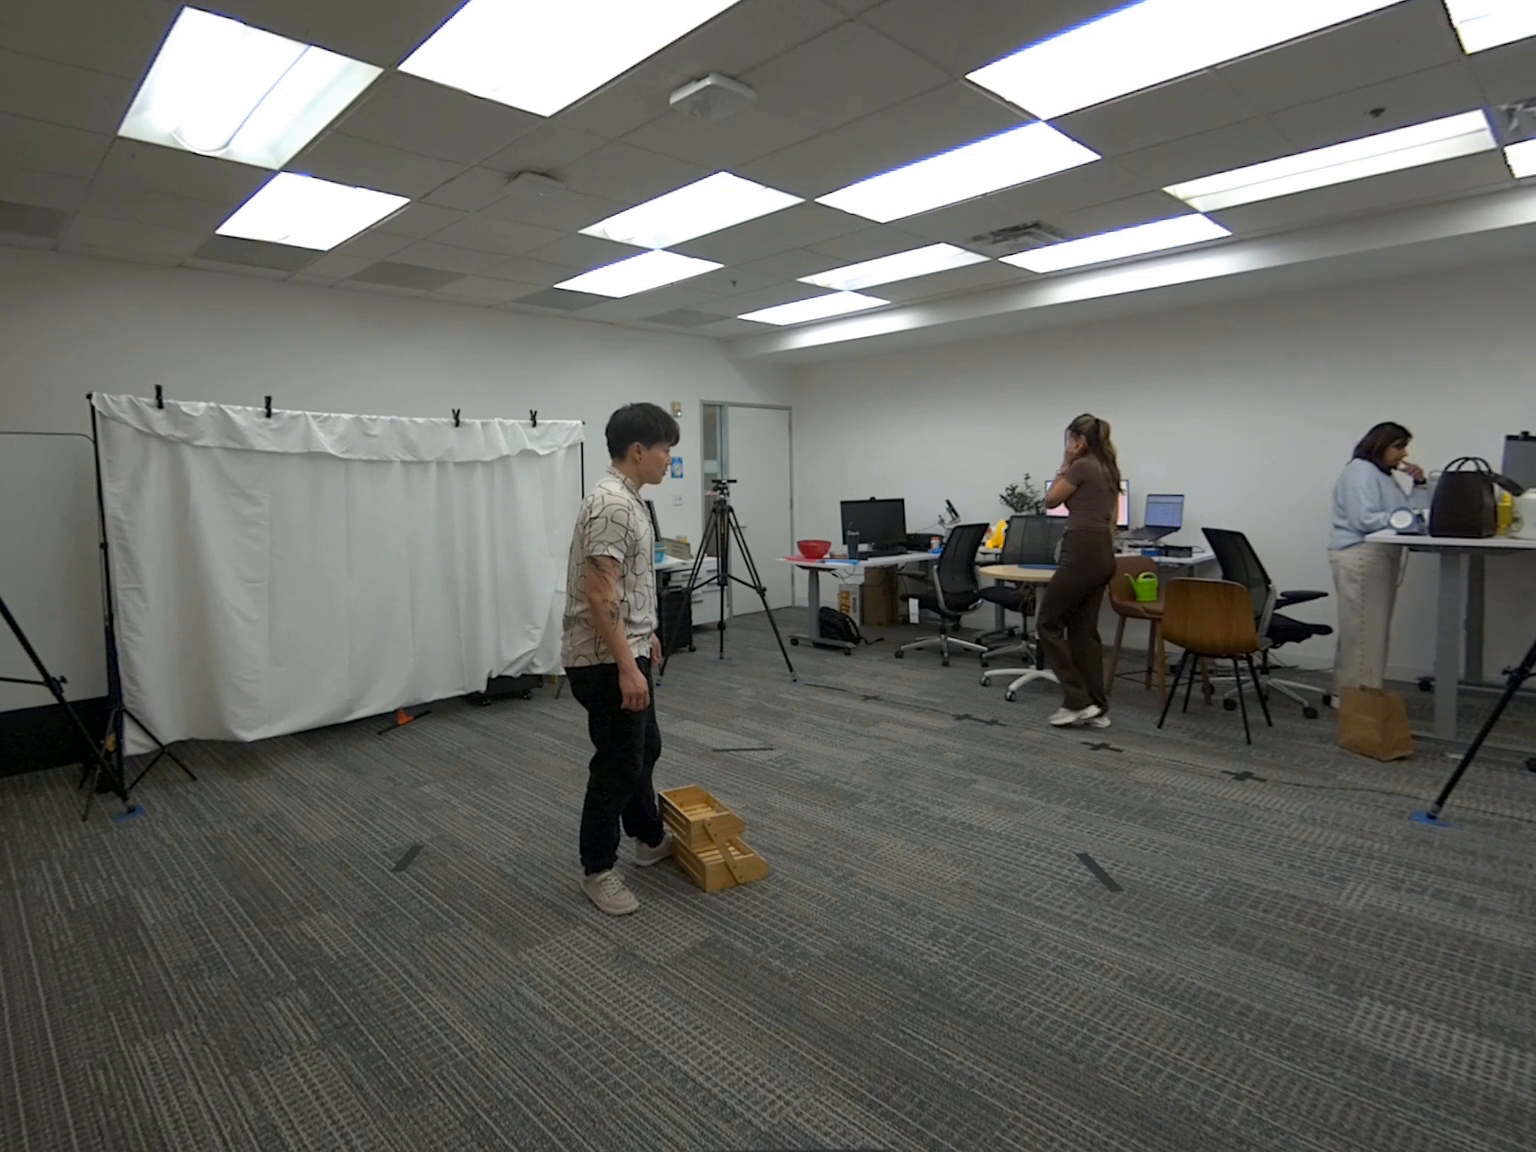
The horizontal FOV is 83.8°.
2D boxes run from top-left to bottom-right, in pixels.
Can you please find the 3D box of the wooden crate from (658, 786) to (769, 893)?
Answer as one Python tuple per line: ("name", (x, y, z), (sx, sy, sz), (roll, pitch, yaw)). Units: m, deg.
("wooden crate", (-0.193, 0.919, 3.071), (0.295, 0.272, 0.333), (-5, 7, -27))
